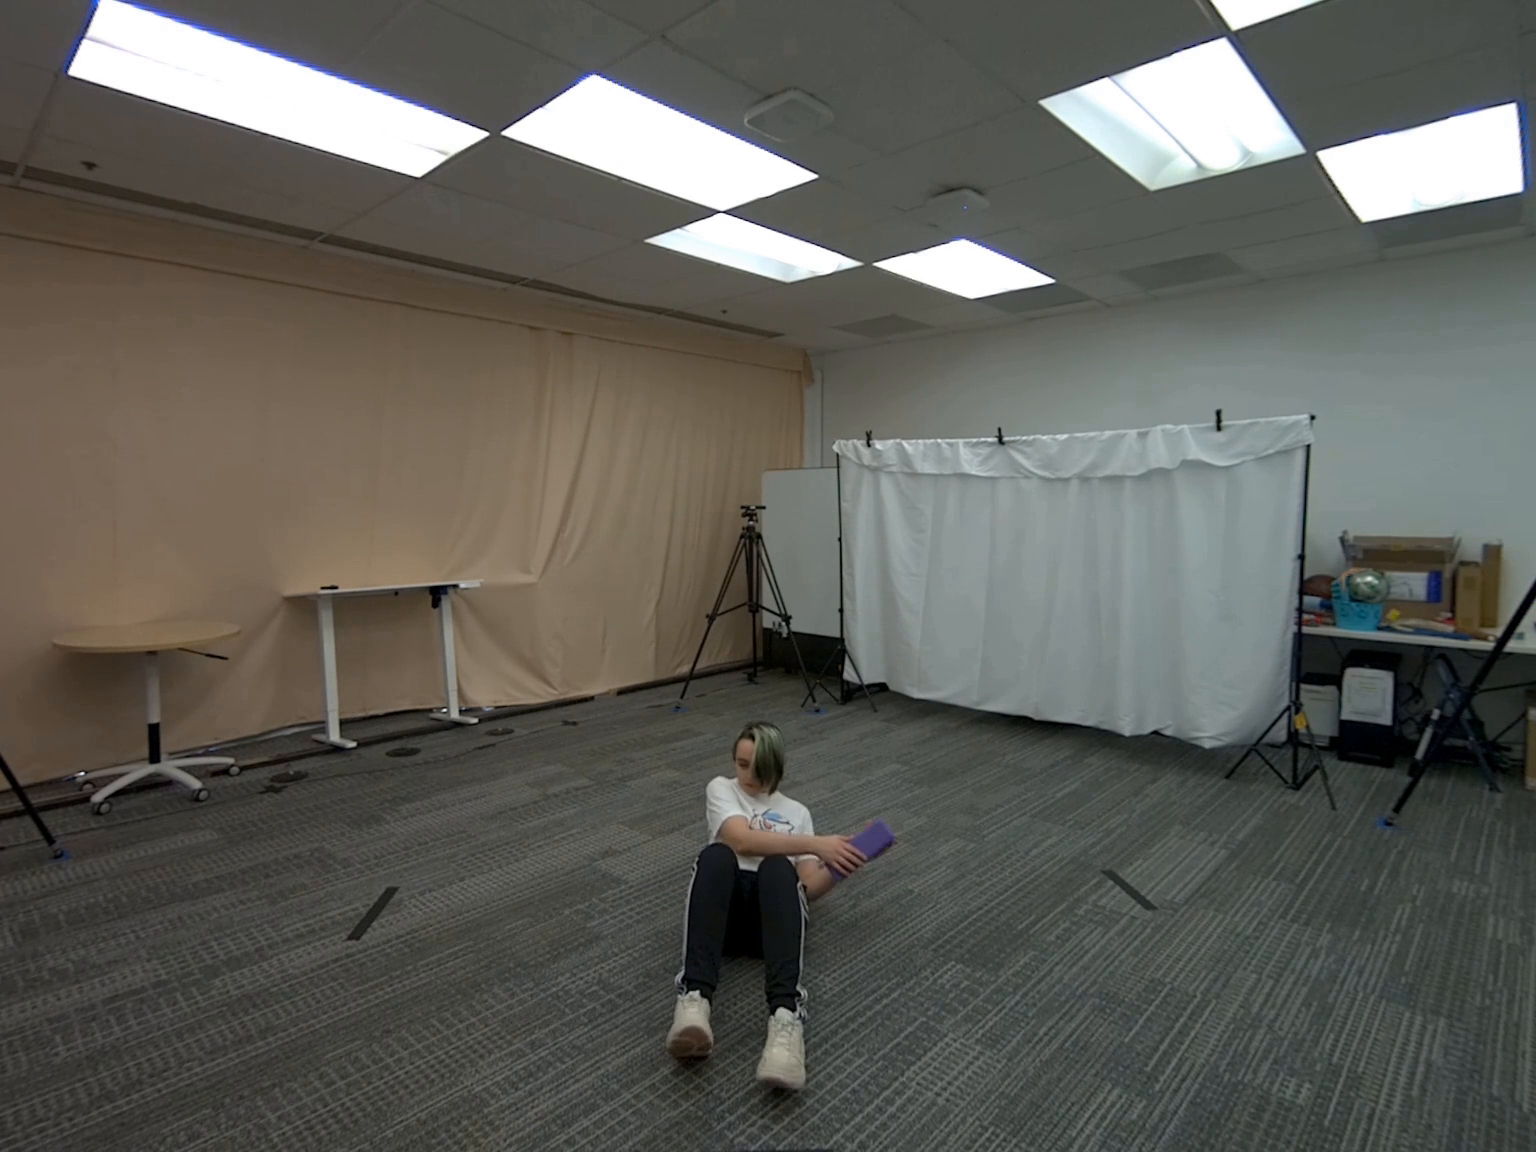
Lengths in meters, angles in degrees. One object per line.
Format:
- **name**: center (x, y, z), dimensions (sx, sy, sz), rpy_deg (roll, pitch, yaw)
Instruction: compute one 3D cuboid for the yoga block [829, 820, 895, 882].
- **yoga block**: center (0.292, 0.869, 2.681), dimensions (0.229, 0.078, 0.146), rpy_deg (-42, -15, -2)
